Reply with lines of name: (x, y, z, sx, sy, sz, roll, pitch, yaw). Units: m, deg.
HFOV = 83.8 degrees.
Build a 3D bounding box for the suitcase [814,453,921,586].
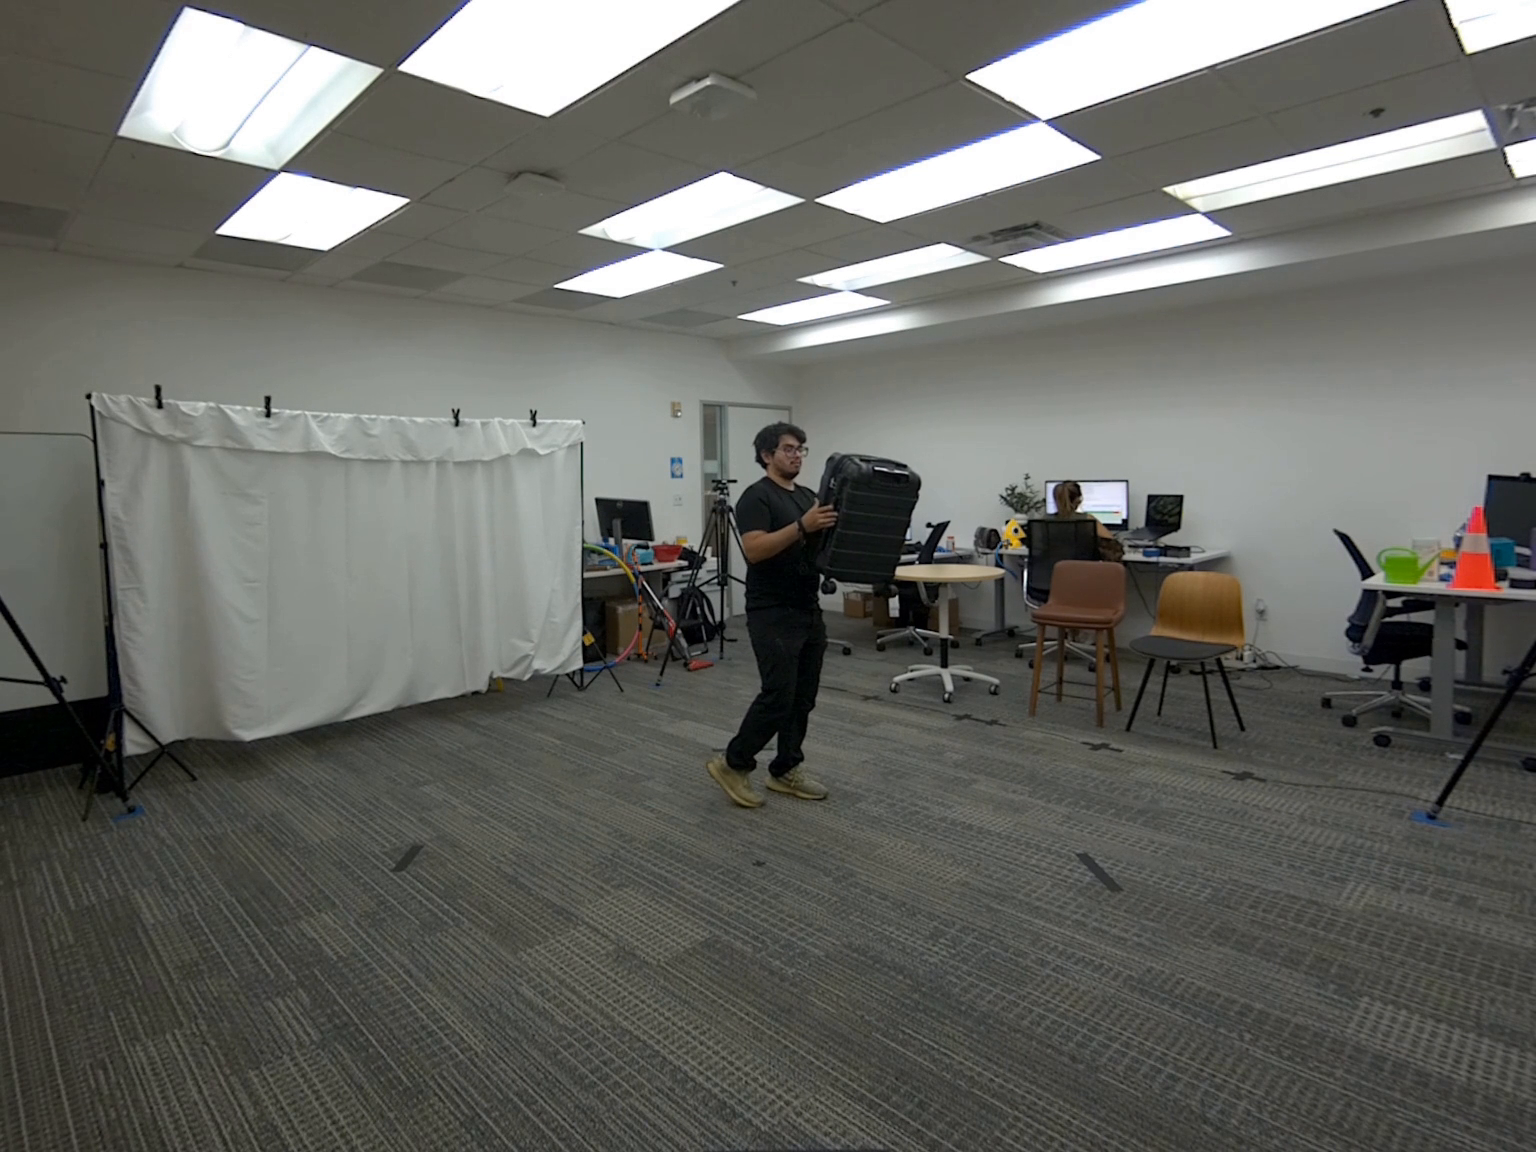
suitcase: (0.375, -0.226, 3.479, 0.367, 0.543, 0.257, 5, 21, -24)
